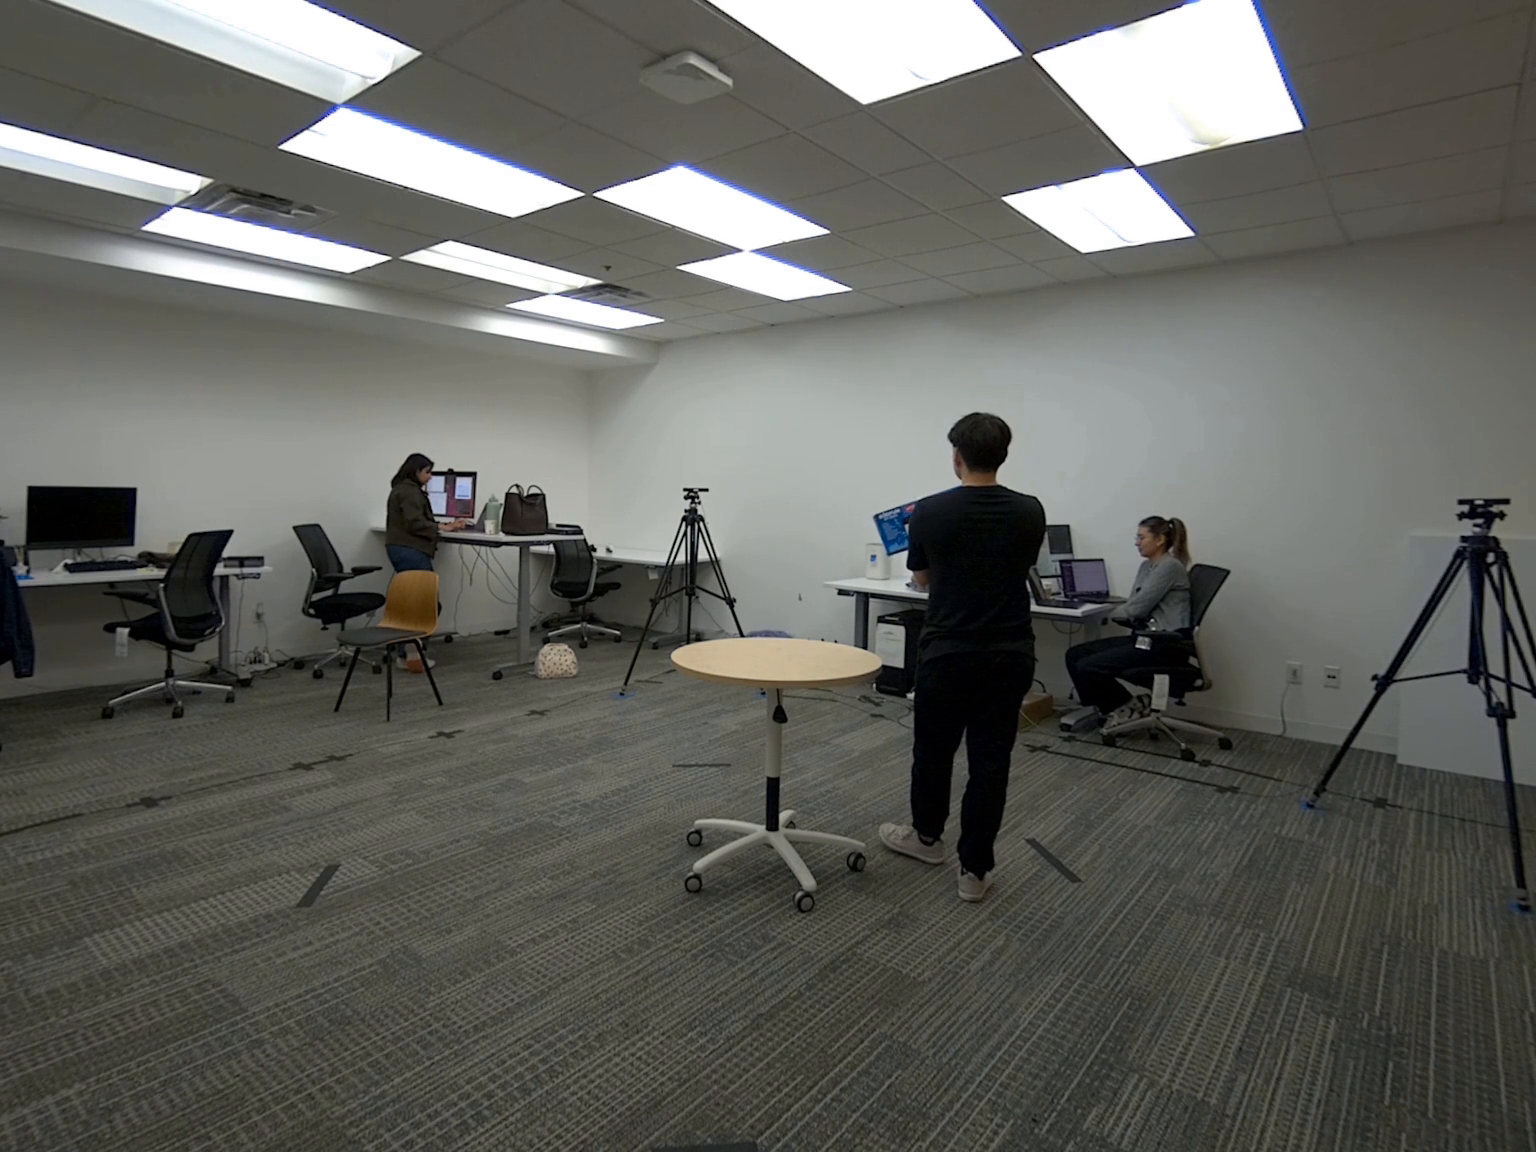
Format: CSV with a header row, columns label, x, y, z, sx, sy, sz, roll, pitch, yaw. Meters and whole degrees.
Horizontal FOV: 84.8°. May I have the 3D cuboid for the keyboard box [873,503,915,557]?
label,x,y,z,sx,sy,sz,roll,pitch,yaw
keyboard box,0.656,-0.239,3.417,0.437,0.178,0.058,-17,-8,0
